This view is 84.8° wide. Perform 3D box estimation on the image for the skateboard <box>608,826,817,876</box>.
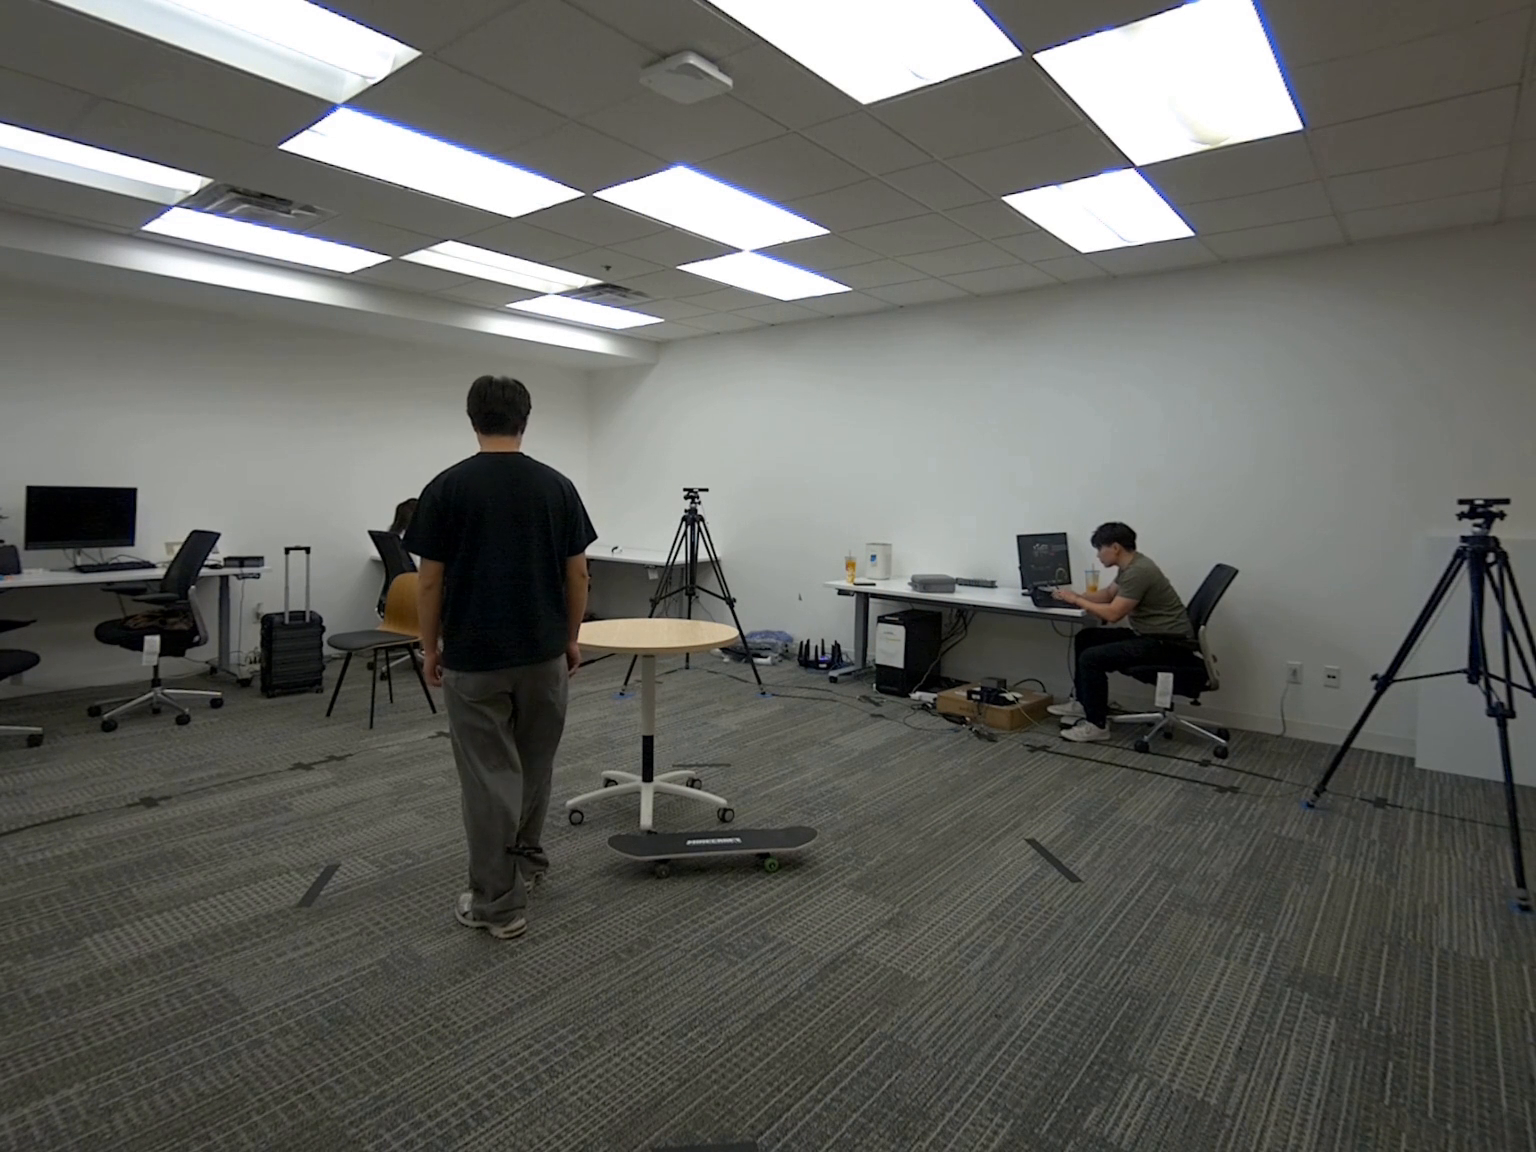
[{"bbox_3d":[-0.206,1.009,3.142,0.777,0.110,0.196,0,5,-10],"label":"skateboard"}]
